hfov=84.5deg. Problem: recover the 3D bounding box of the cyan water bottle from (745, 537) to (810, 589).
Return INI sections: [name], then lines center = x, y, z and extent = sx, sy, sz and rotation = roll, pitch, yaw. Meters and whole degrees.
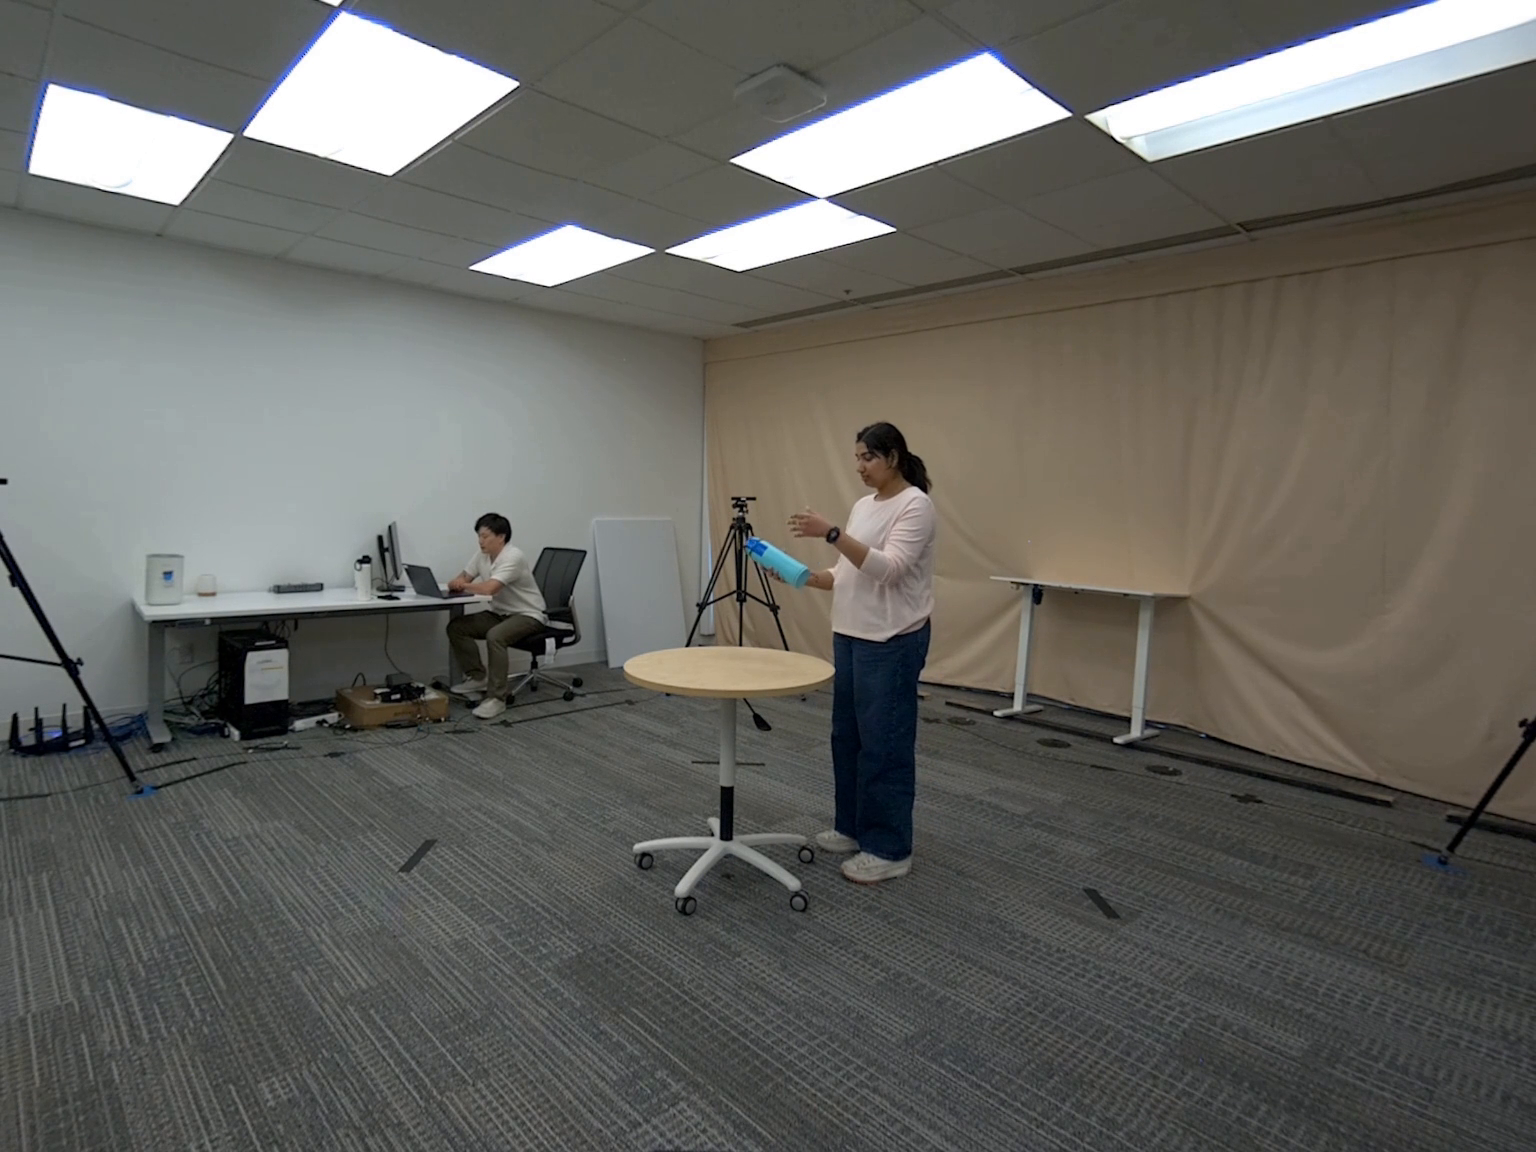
[cyan water bottle]
center = 0.027, -0.062, 3.200
extent = 0.291, 0.092, 0.090
rotation = 34, 20, 27
